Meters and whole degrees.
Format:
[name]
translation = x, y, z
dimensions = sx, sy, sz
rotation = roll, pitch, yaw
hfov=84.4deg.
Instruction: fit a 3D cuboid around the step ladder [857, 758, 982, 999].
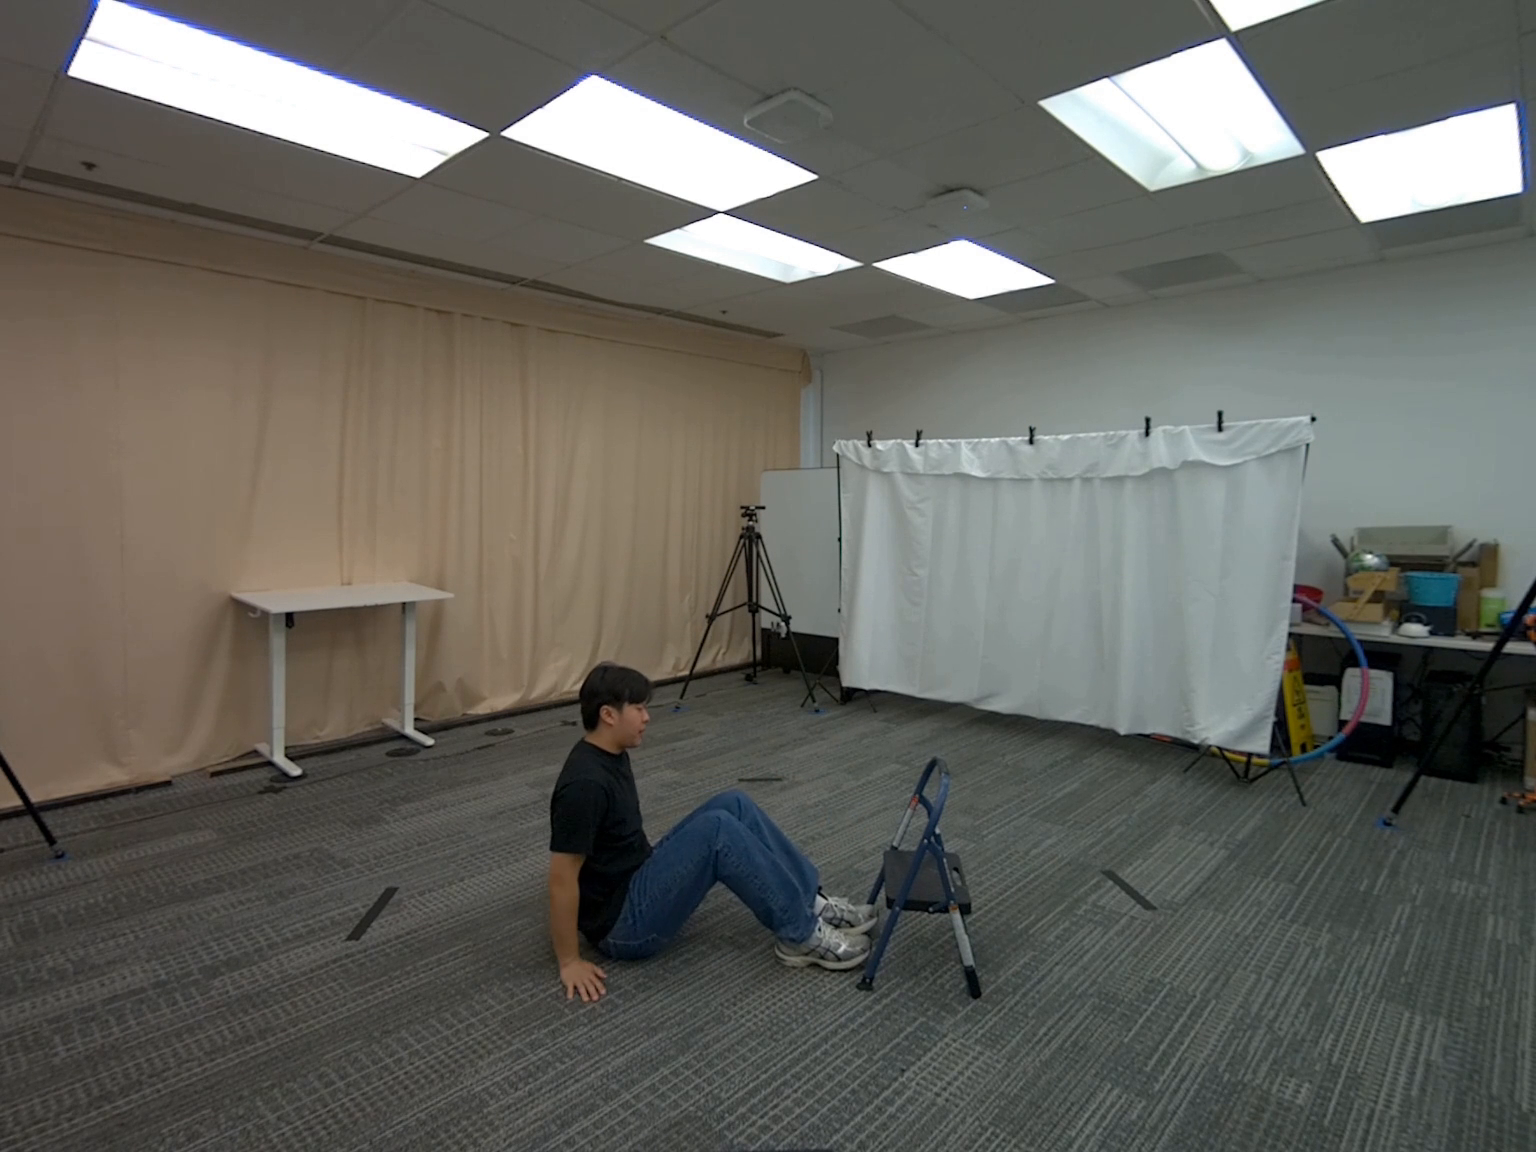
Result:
[step ladder]
translation = 0.464, 0.875, 2.579
dimensions = 0.352, 0.605, 0.428
rotation = 0, 4, 7
